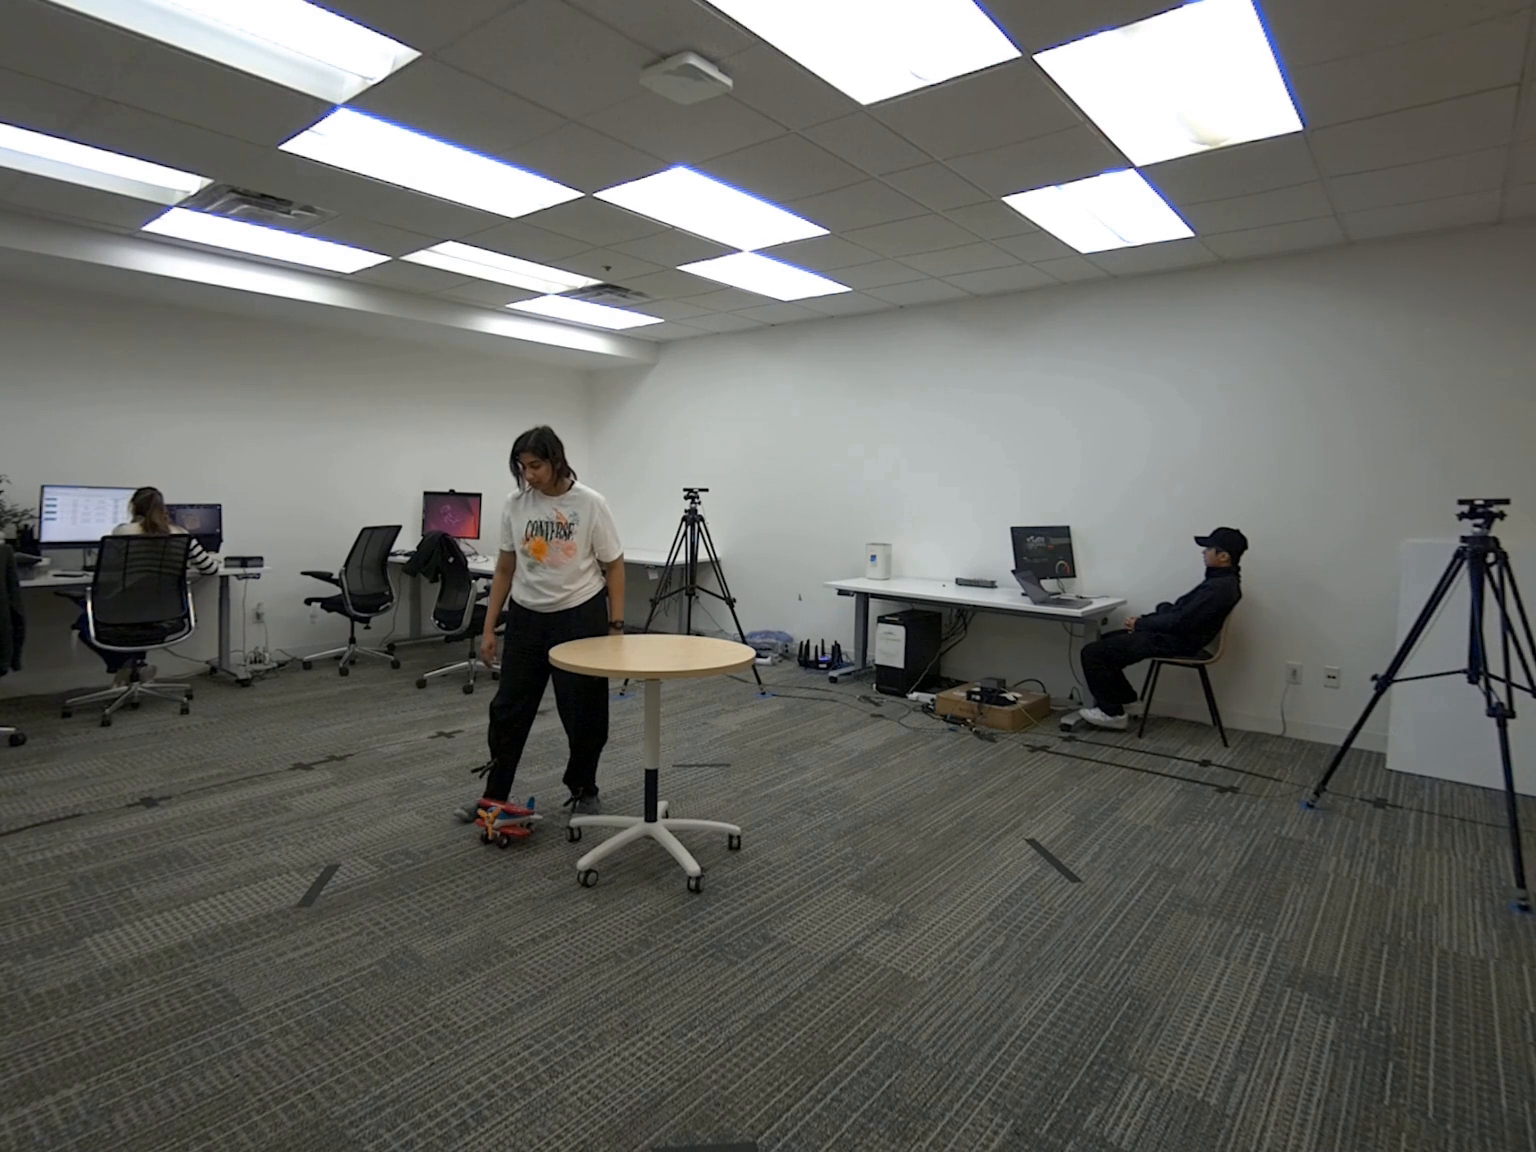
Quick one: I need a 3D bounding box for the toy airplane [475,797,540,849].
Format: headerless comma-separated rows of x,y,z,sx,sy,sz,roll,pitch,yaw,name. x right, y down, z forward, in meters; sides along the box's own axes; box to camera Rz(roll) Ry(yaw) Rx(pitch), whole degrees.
-1.051,0.957,3.363,0.252,0.156,0.260,1,5,1,toy airplane
